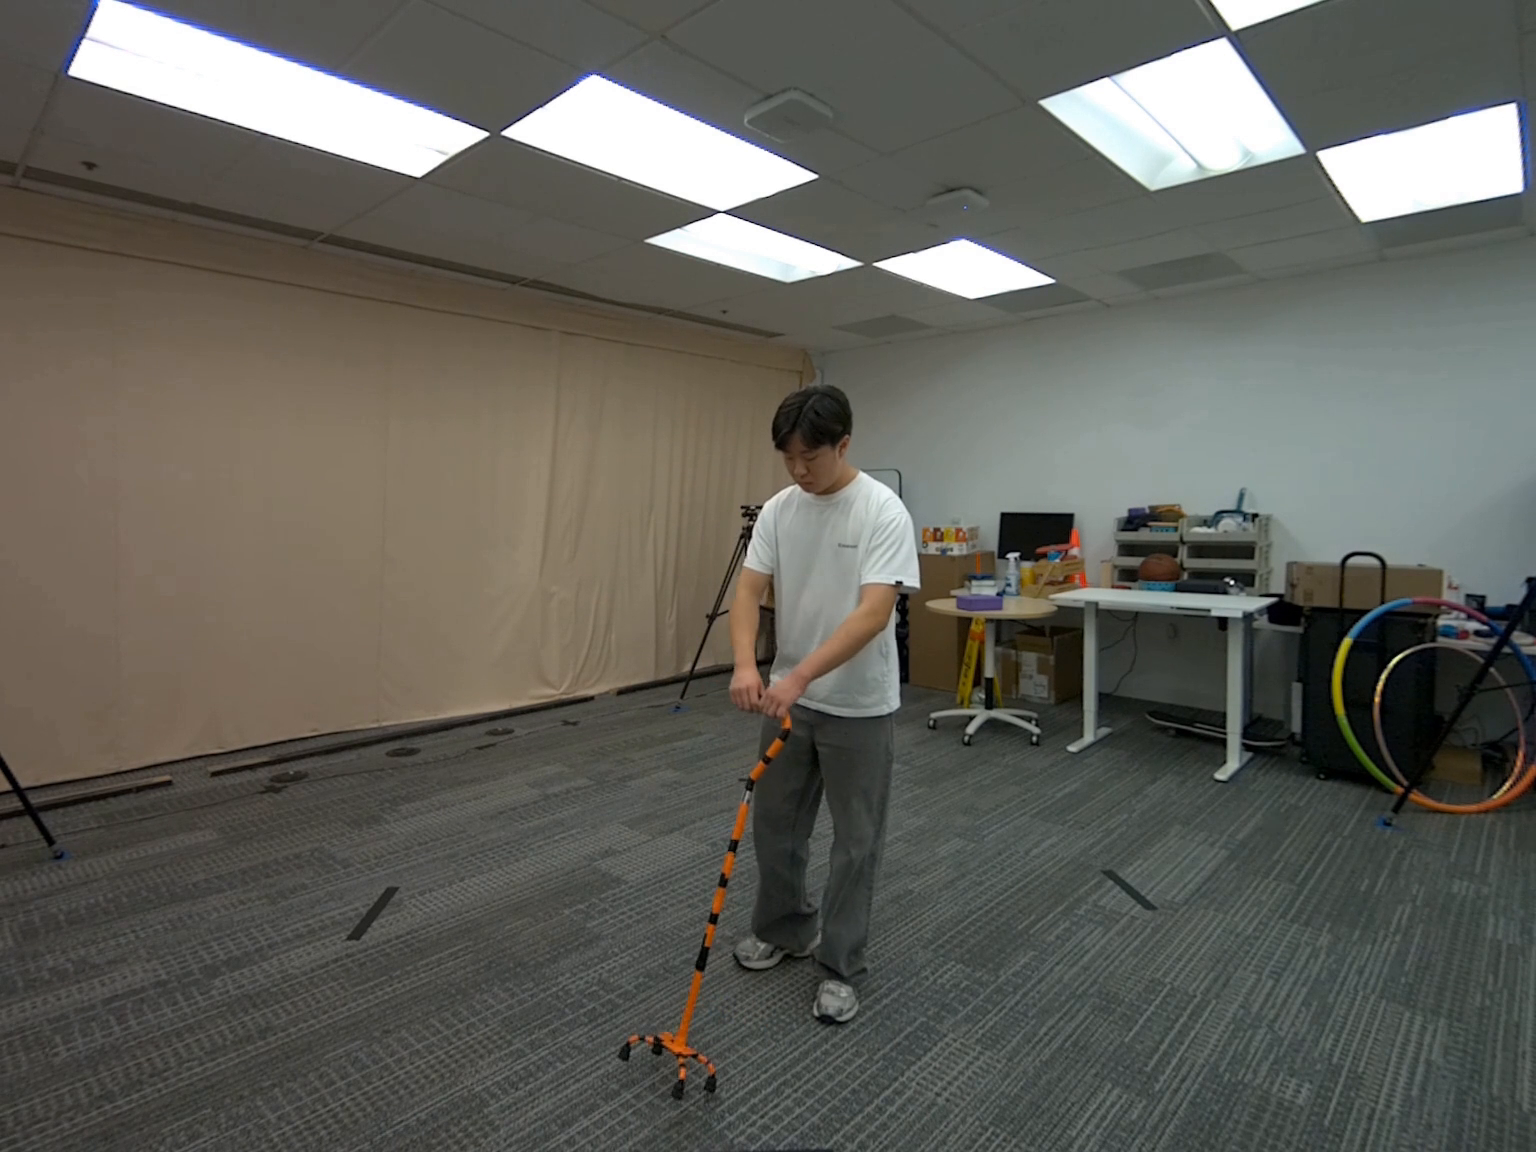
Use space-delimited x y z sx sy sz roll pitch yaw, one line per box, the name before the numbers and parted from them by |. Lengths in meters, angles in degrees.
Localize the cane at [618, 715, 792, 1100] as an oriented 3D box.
cane | -0.103 0.754 2.074 0.213 0.910 0.146 8 -11 40
